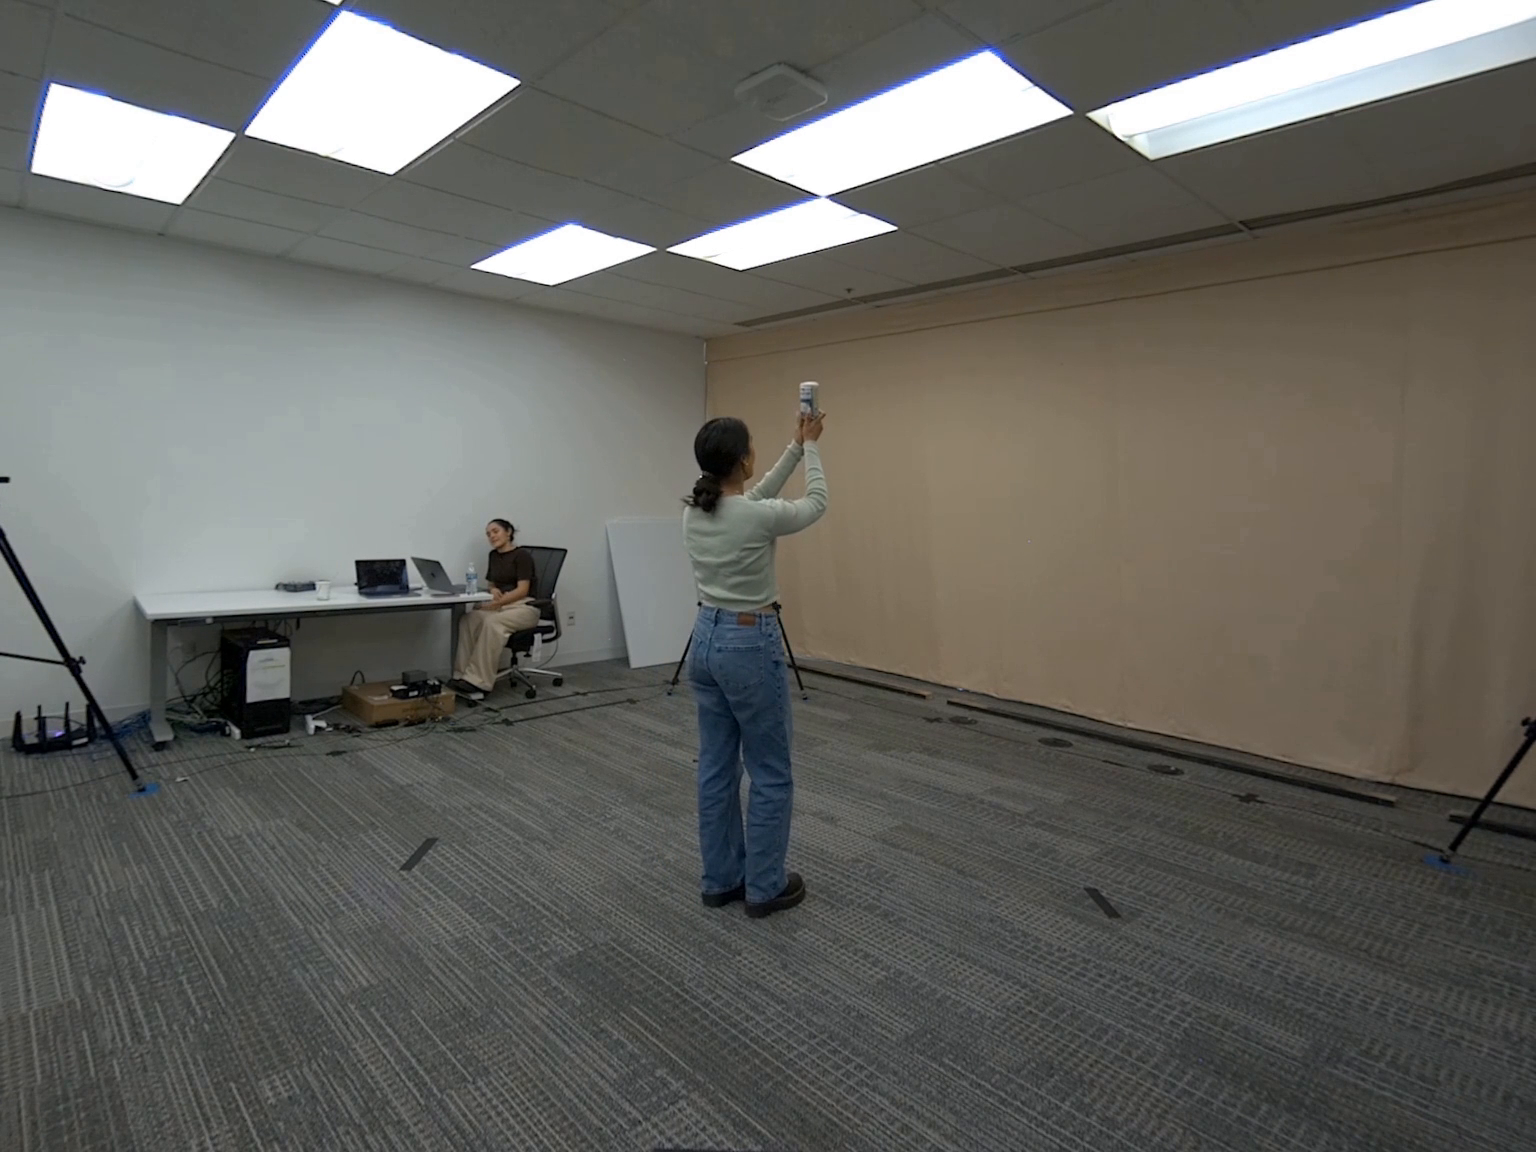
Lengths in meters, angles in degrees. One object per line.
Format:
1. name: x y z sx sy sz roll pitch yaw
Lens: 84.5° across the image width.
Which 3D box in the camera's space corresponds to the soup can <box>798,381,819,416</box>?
1. soup can: 0.147 -0.623 2.973 0.067 0.120 0.068 -1 11 -1
